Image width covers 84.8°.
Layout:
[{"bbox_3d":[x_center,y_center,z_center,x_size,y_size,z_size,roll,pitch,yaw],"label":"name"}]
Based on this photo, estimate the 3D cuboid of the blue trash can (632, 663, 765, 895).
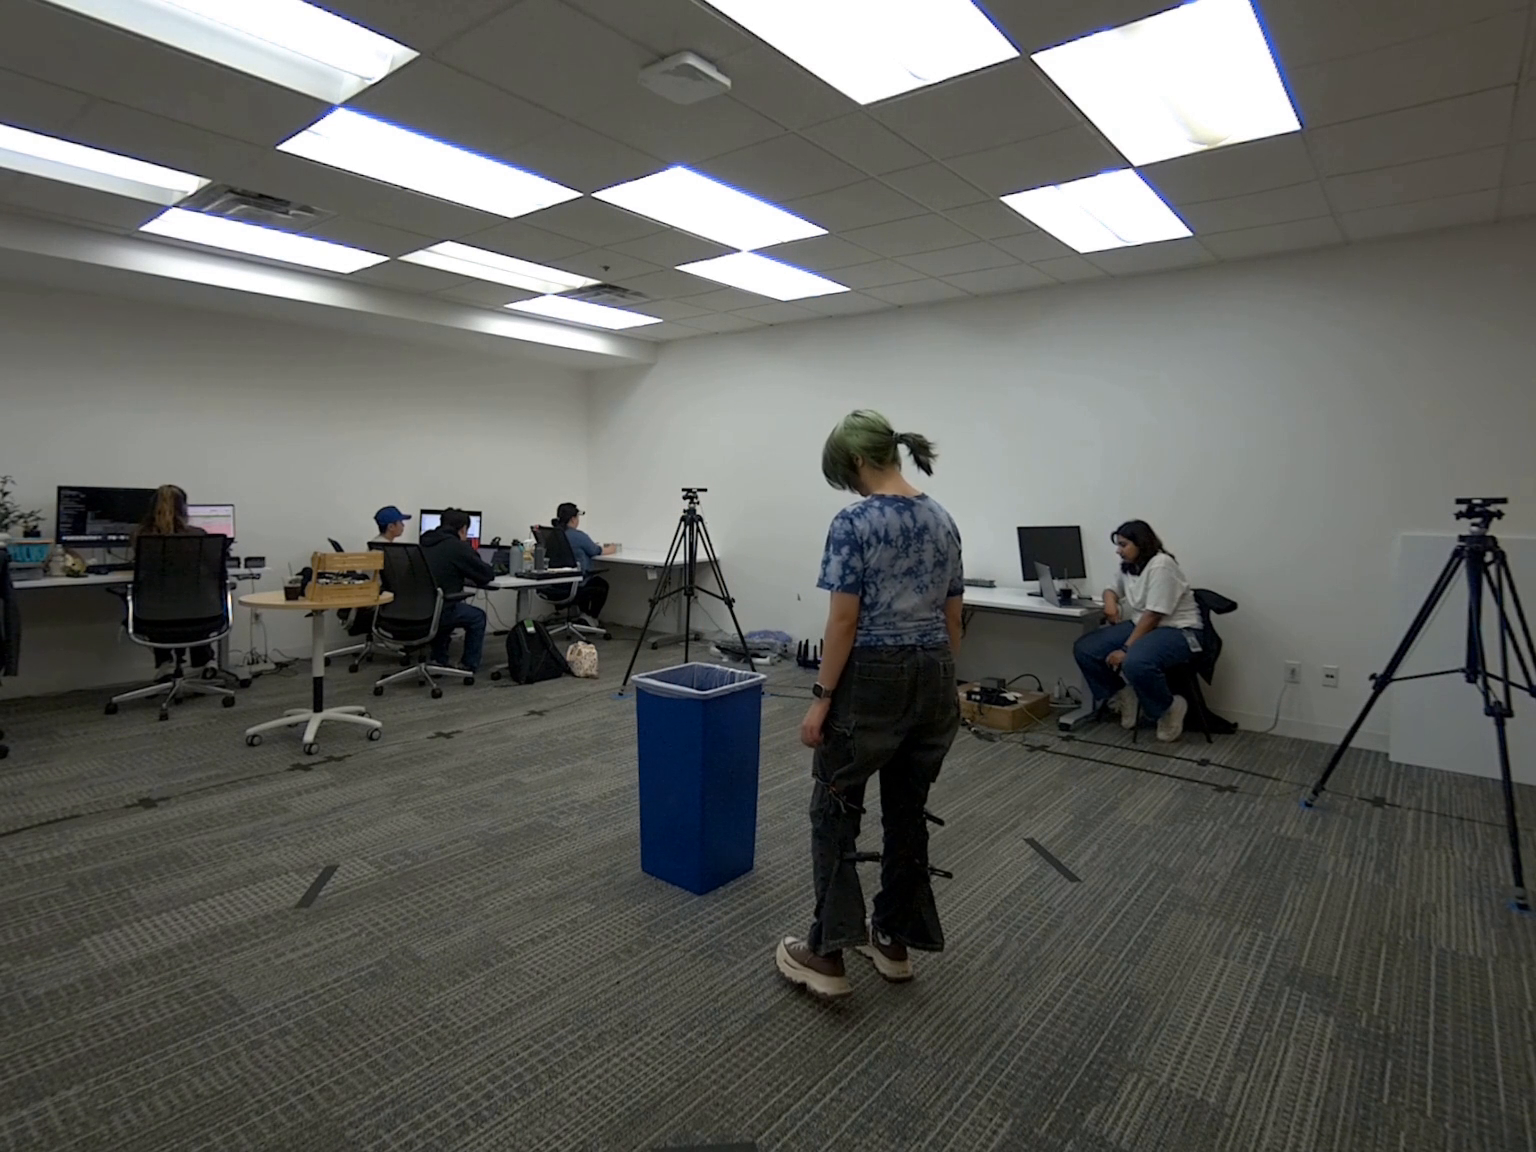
[{"bbox_3d":[-0.264,0.714,3.085,0.390,0.712,0.363,3,4,39],"label":"blue trash can"}]
